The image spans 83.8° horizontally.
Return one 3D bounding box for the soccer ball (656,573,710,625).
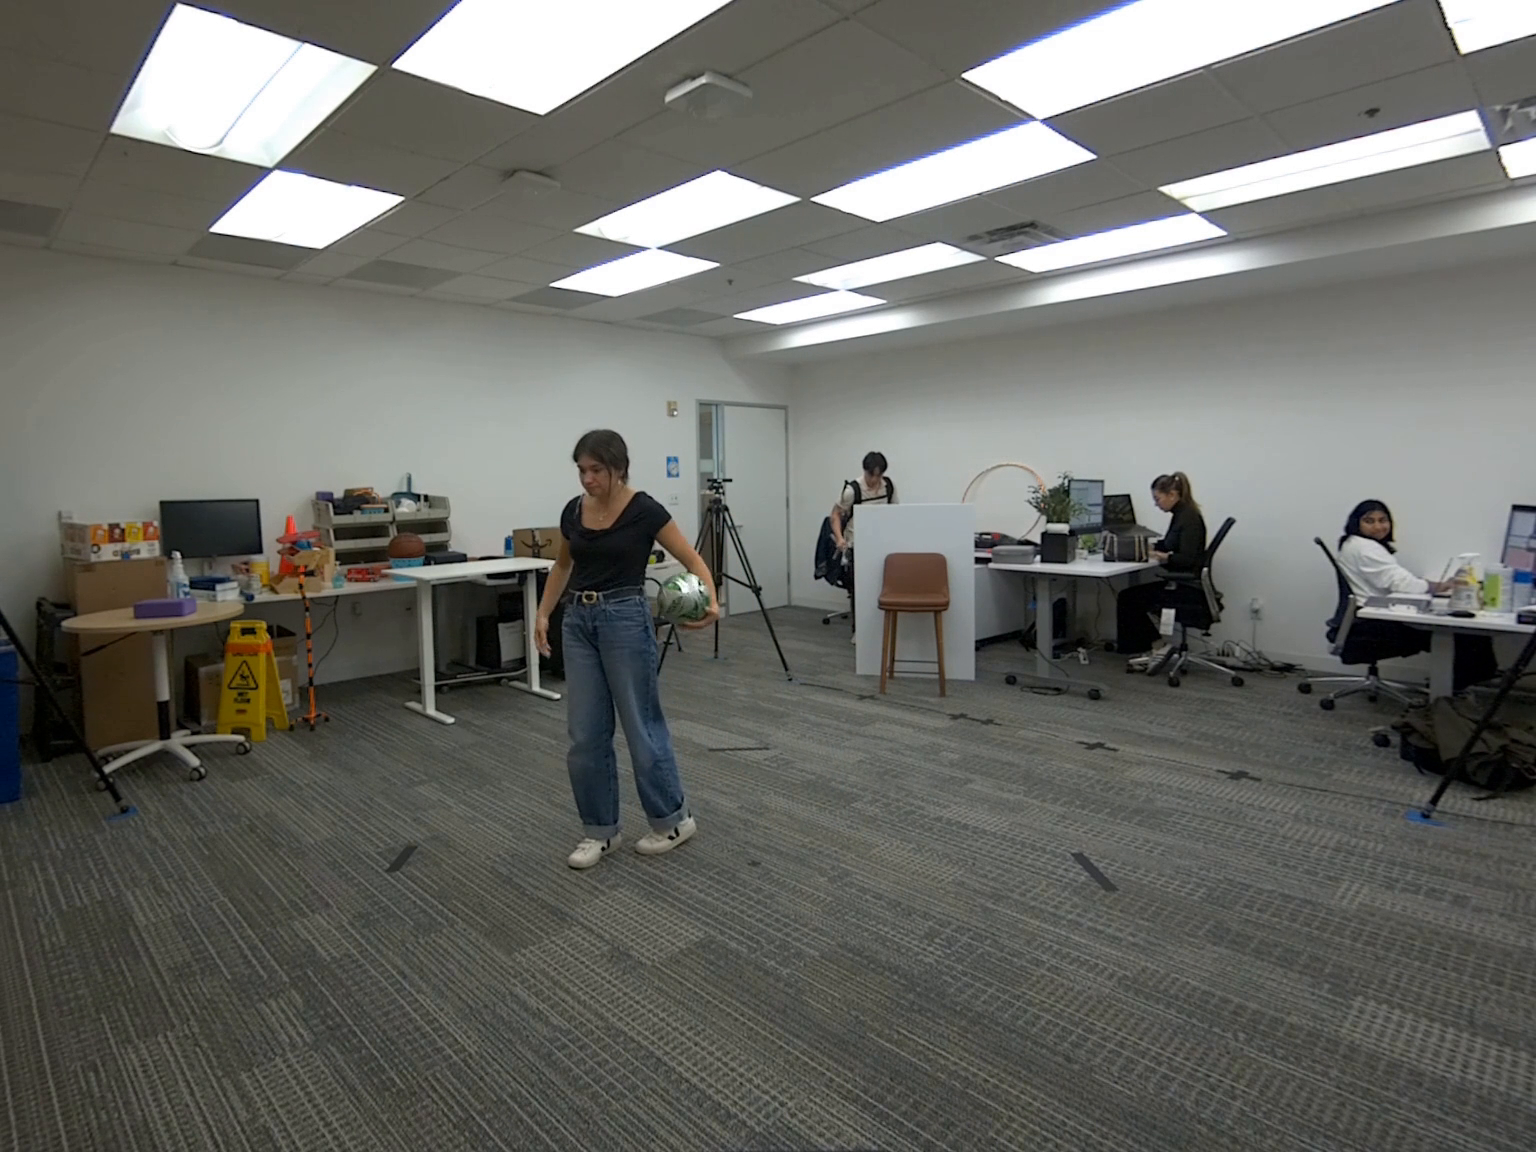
[{"bbox_3d":[-0.314,0.084,2.998,0.187,0.187,0.188,-1,5,-2],"label":"soccer ball"}]
